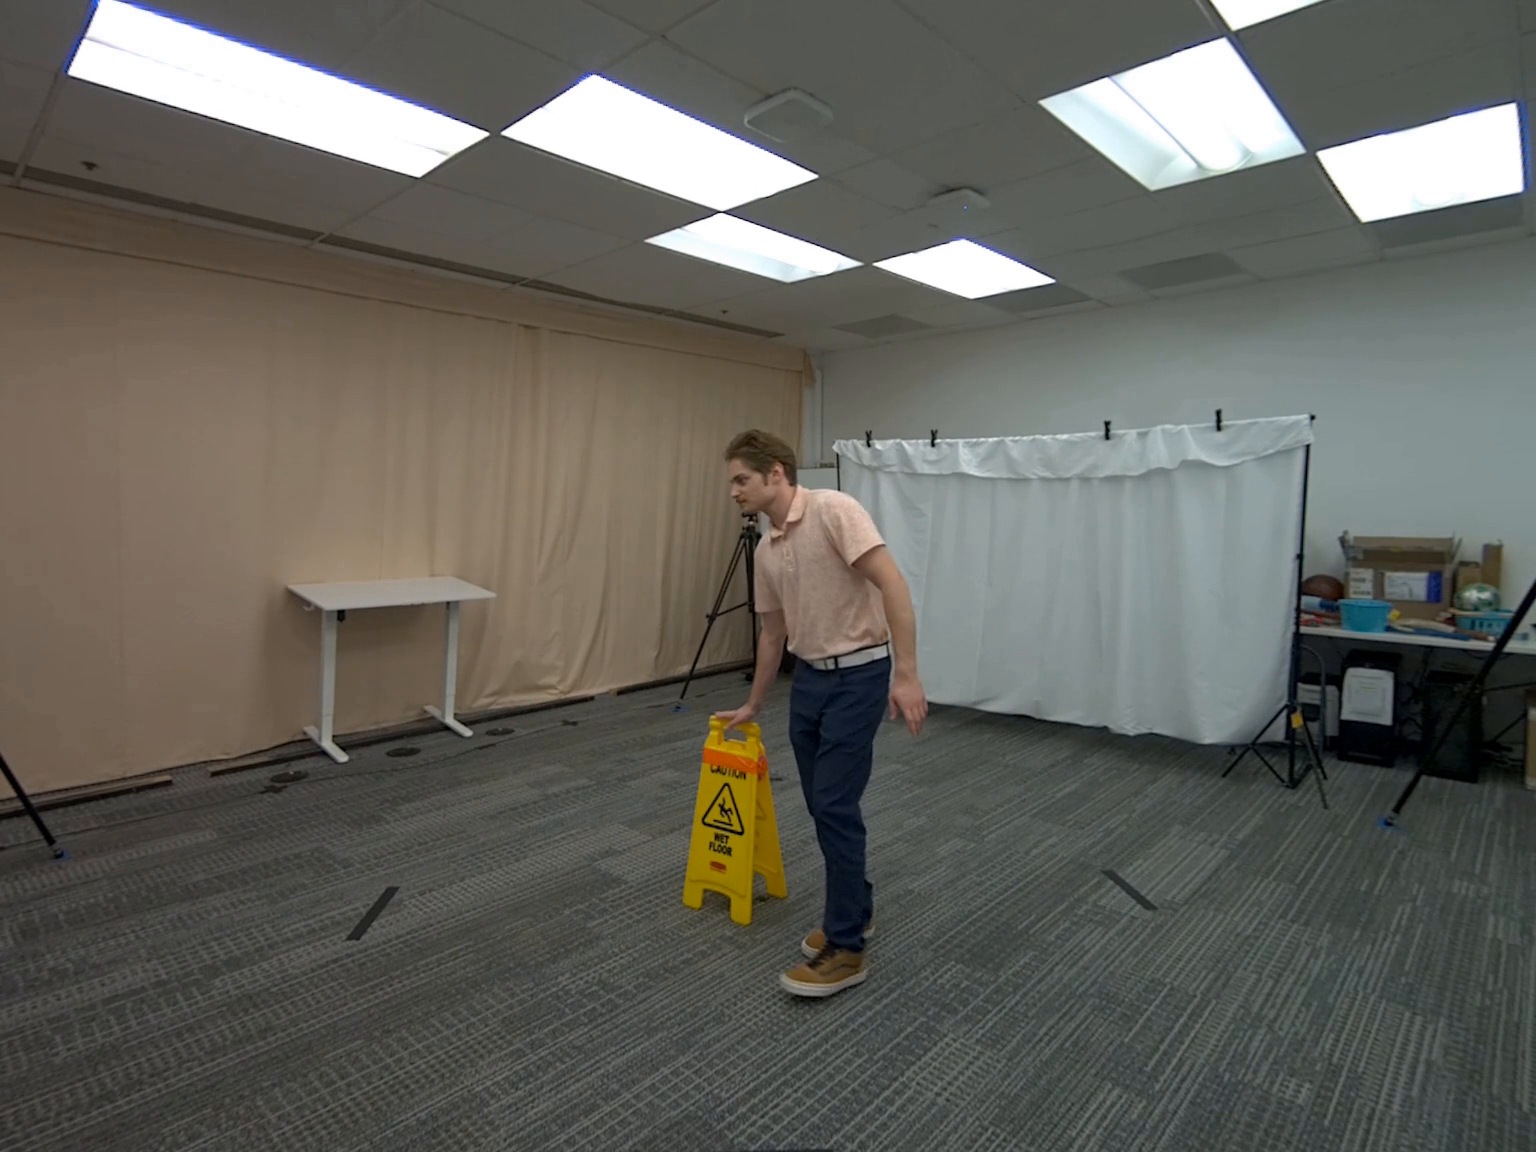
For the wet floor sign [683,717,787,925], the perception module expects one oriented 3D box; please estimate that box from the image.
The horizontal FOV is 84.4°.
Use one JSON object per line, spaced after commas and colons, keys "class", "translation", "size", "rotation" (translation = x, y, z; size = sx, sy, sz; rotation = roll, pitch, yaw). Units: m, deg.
{"class": "wet floor sign", "translation": [-0.112, 0.822, 2.954], "size": [0.291, 0.645, 0.281], "rotation": [3, 4, 33]}
